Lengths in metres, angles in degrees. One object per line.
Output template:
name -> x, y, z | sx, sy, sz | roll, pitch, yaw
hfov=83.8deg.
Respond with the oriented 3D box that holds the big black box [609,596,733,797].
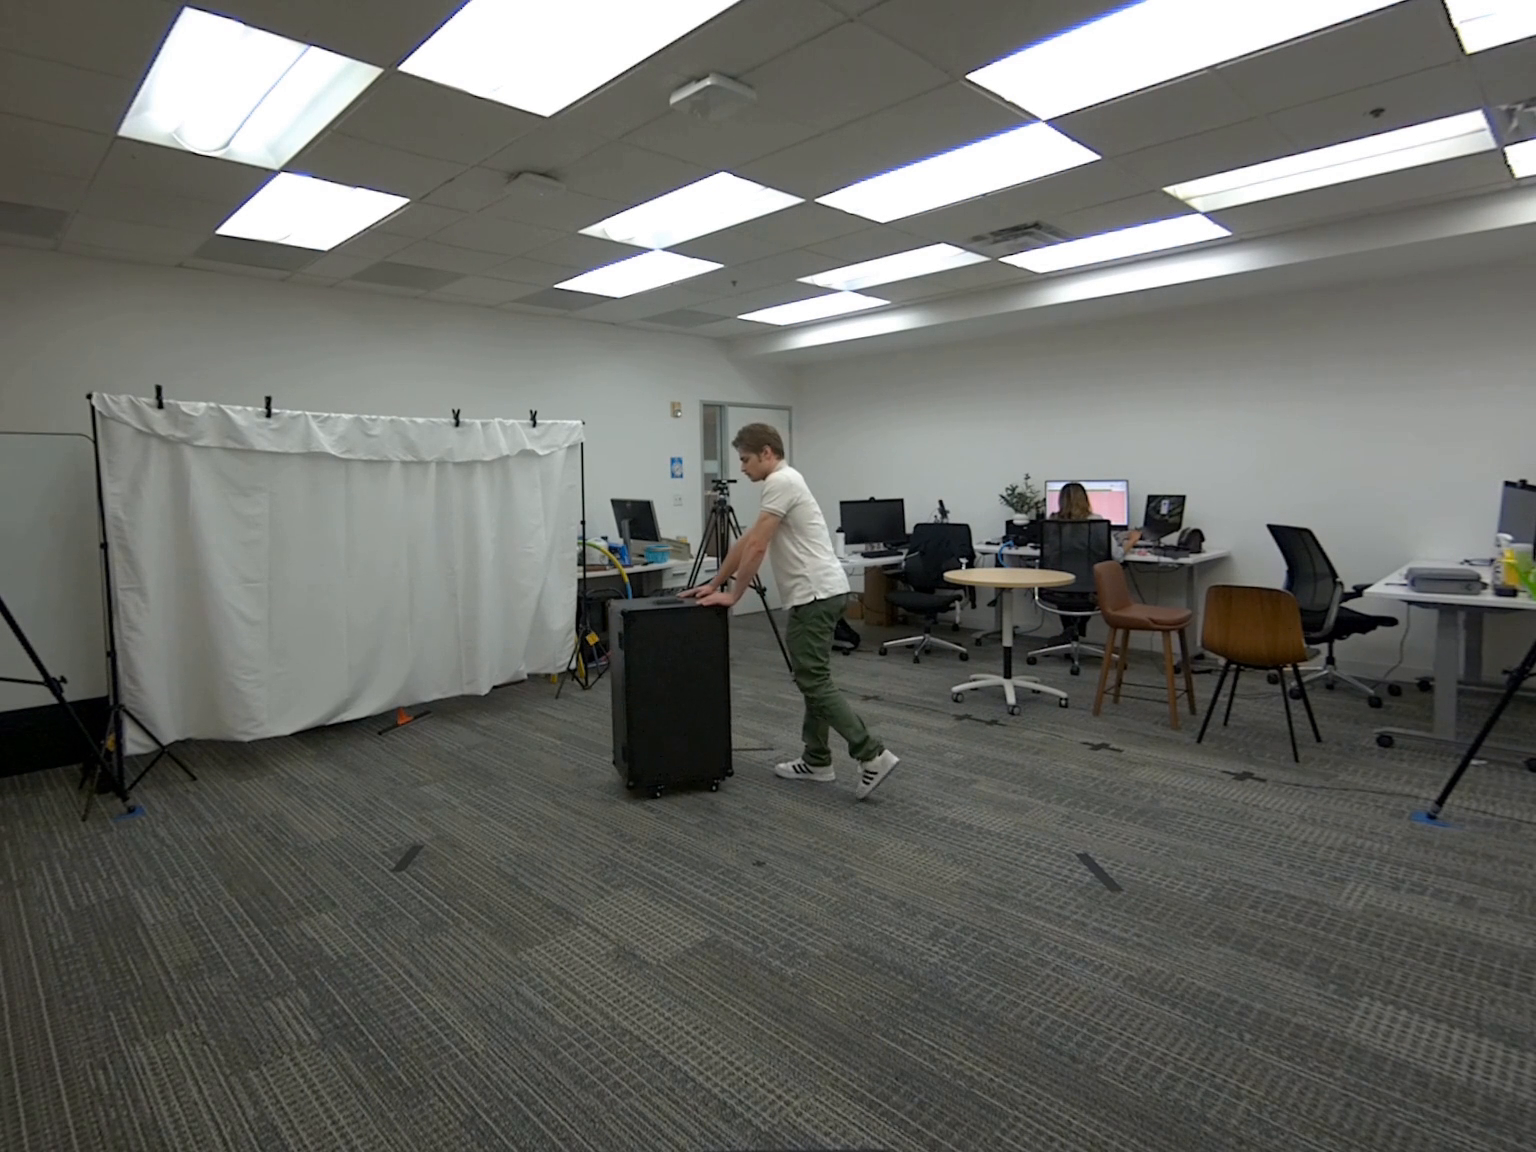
big black box -> -0.459, 0.544, 3.911 | 0.514, 0.866, 0.393 | -2, 4, -19
